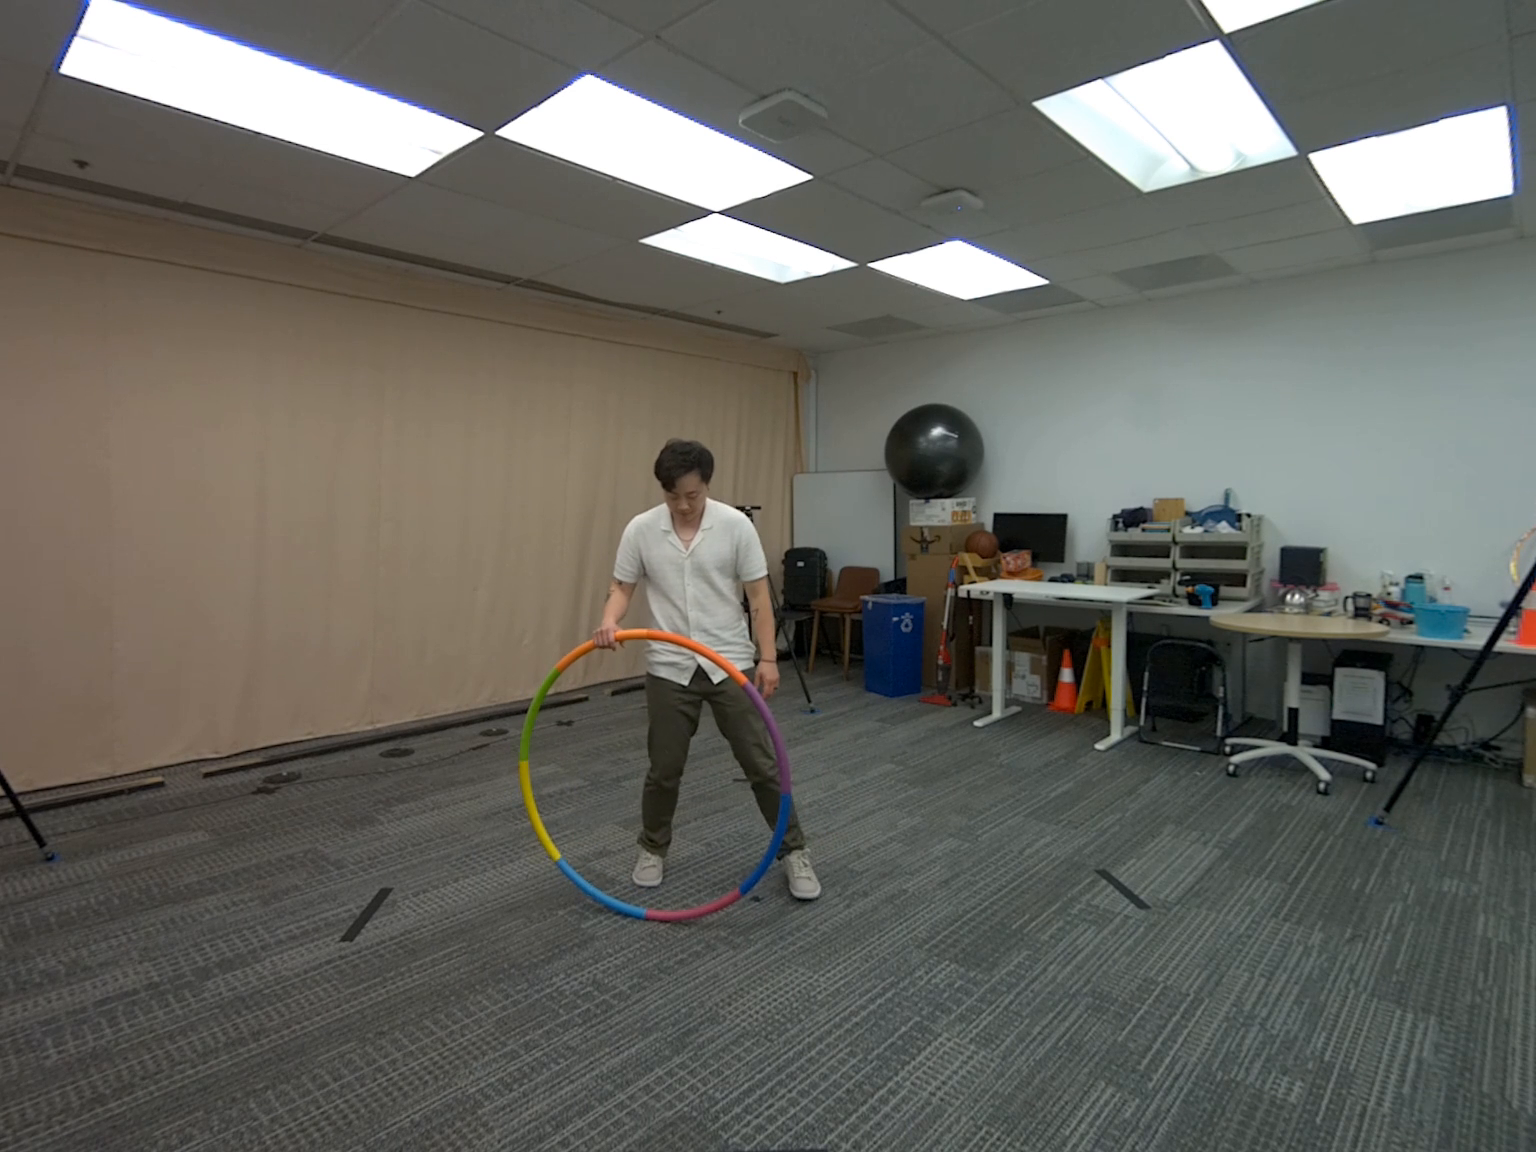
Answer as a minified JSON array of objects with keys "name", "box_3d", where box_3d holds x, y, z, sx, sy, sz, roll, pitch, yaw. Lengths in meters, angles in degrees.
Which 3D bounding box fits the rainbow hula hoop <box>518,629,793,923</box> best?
[{"name":"rainbow hula hoop","box_3d":[-0.396,0.670,2.829,0.999,0.977,0.035,1,2,20]}]
